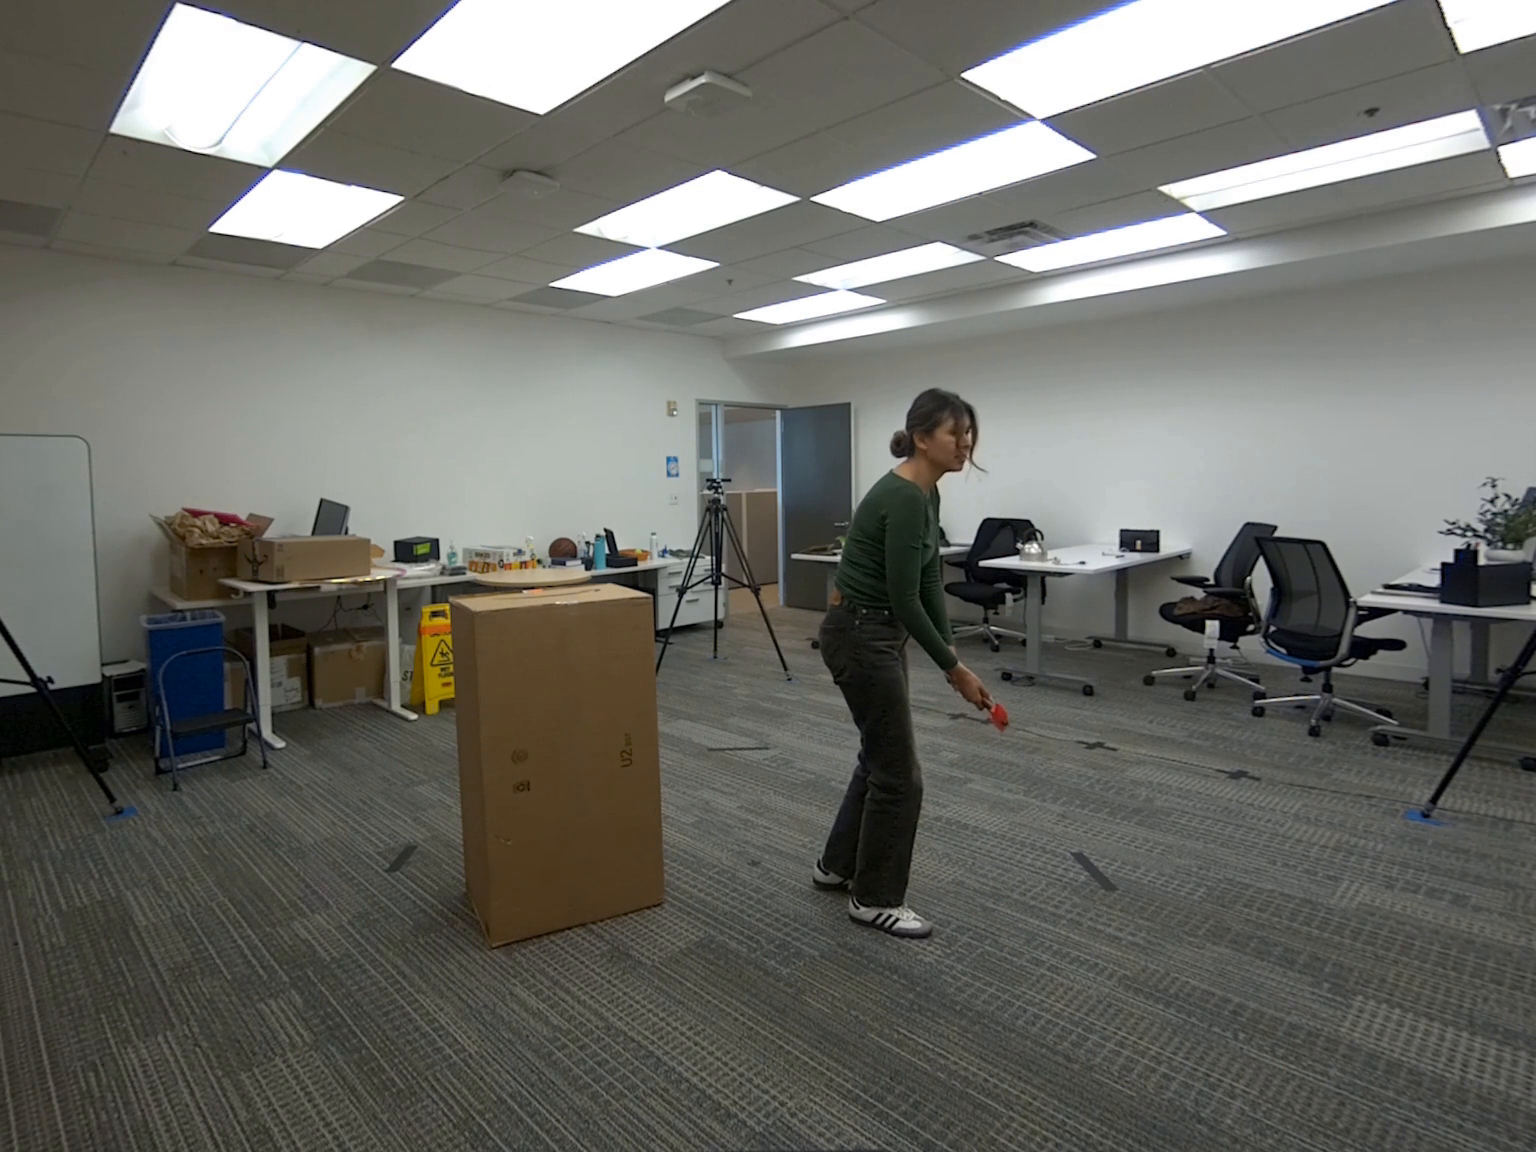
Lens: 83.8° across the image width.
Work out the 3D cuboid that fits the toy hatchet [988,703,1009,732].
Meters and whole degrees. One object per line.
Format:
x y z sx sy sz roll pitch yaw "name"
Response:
0.620 0.370 2.525 0.029 0.128 0.278 -28 23 -11 "toy hatchet"
